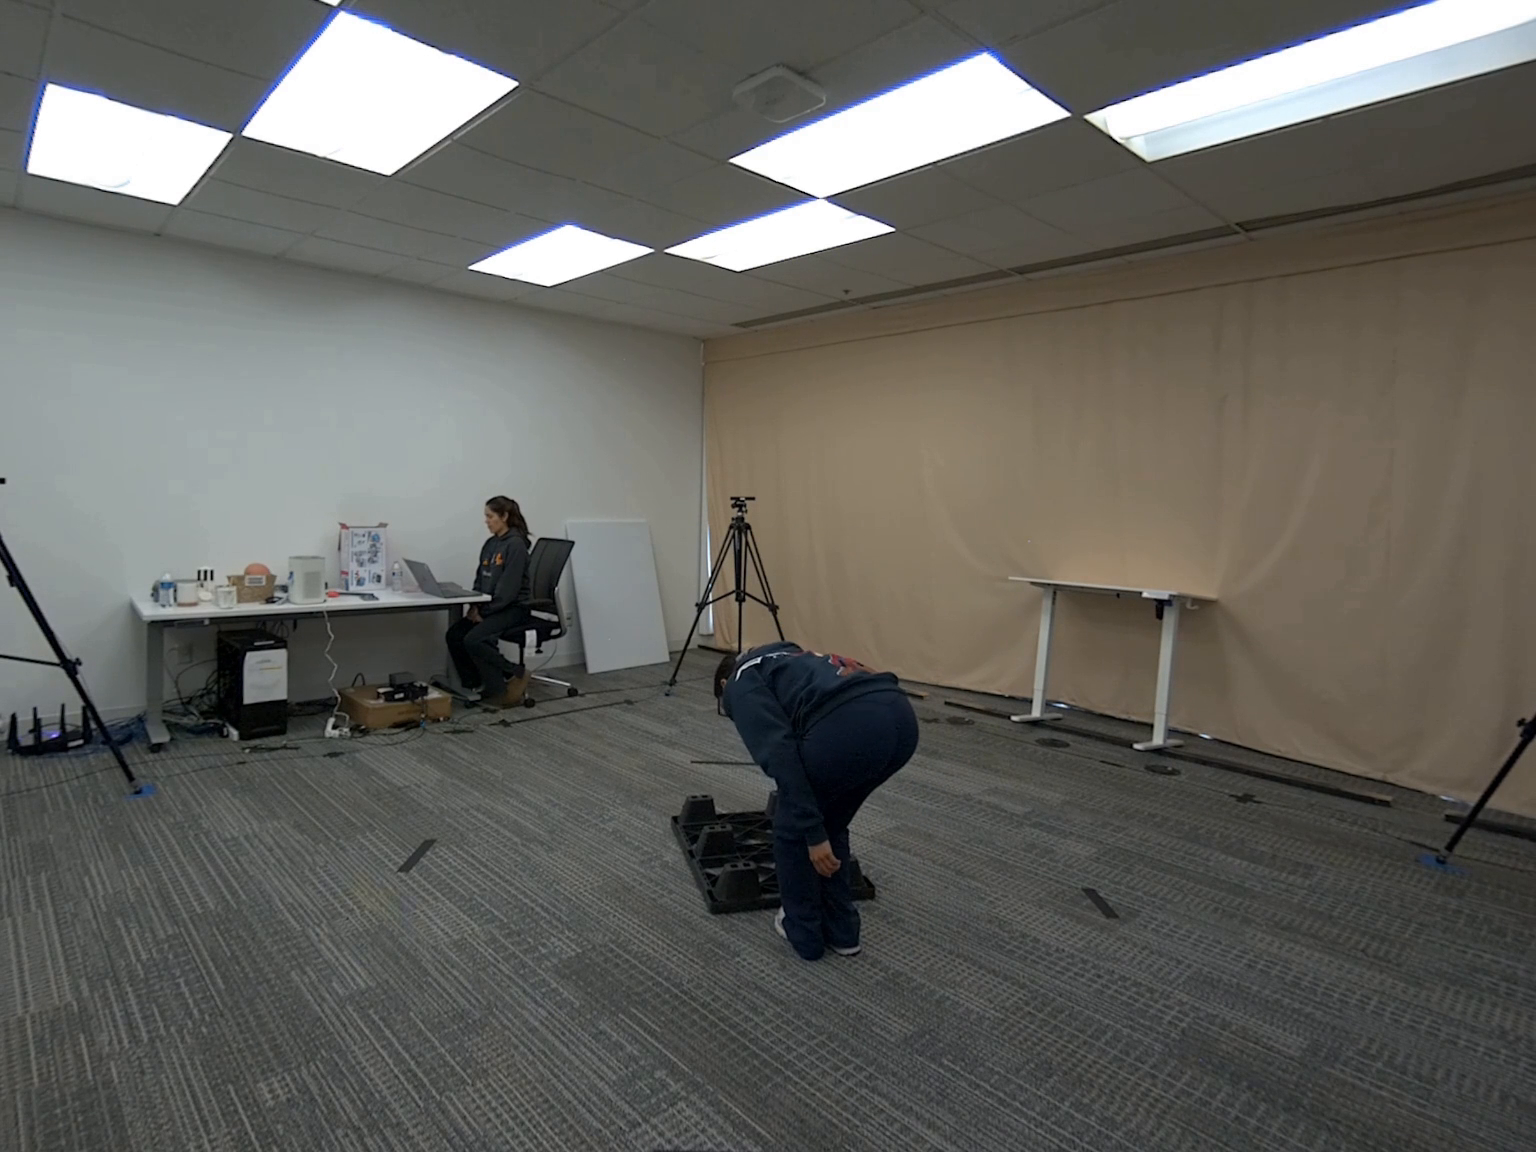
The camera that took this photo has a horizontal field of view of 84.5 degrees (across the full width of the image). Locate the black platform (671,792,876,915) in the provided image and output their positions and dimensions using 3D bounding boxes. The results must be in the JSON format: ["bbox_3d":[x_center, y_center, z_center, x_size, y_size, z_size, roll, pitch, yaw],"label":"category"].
[{"bbox_3d":[-0.025,1.024,3.263,0.597,0.143,0.818,0,5,-17],"label":"black platform"}]
